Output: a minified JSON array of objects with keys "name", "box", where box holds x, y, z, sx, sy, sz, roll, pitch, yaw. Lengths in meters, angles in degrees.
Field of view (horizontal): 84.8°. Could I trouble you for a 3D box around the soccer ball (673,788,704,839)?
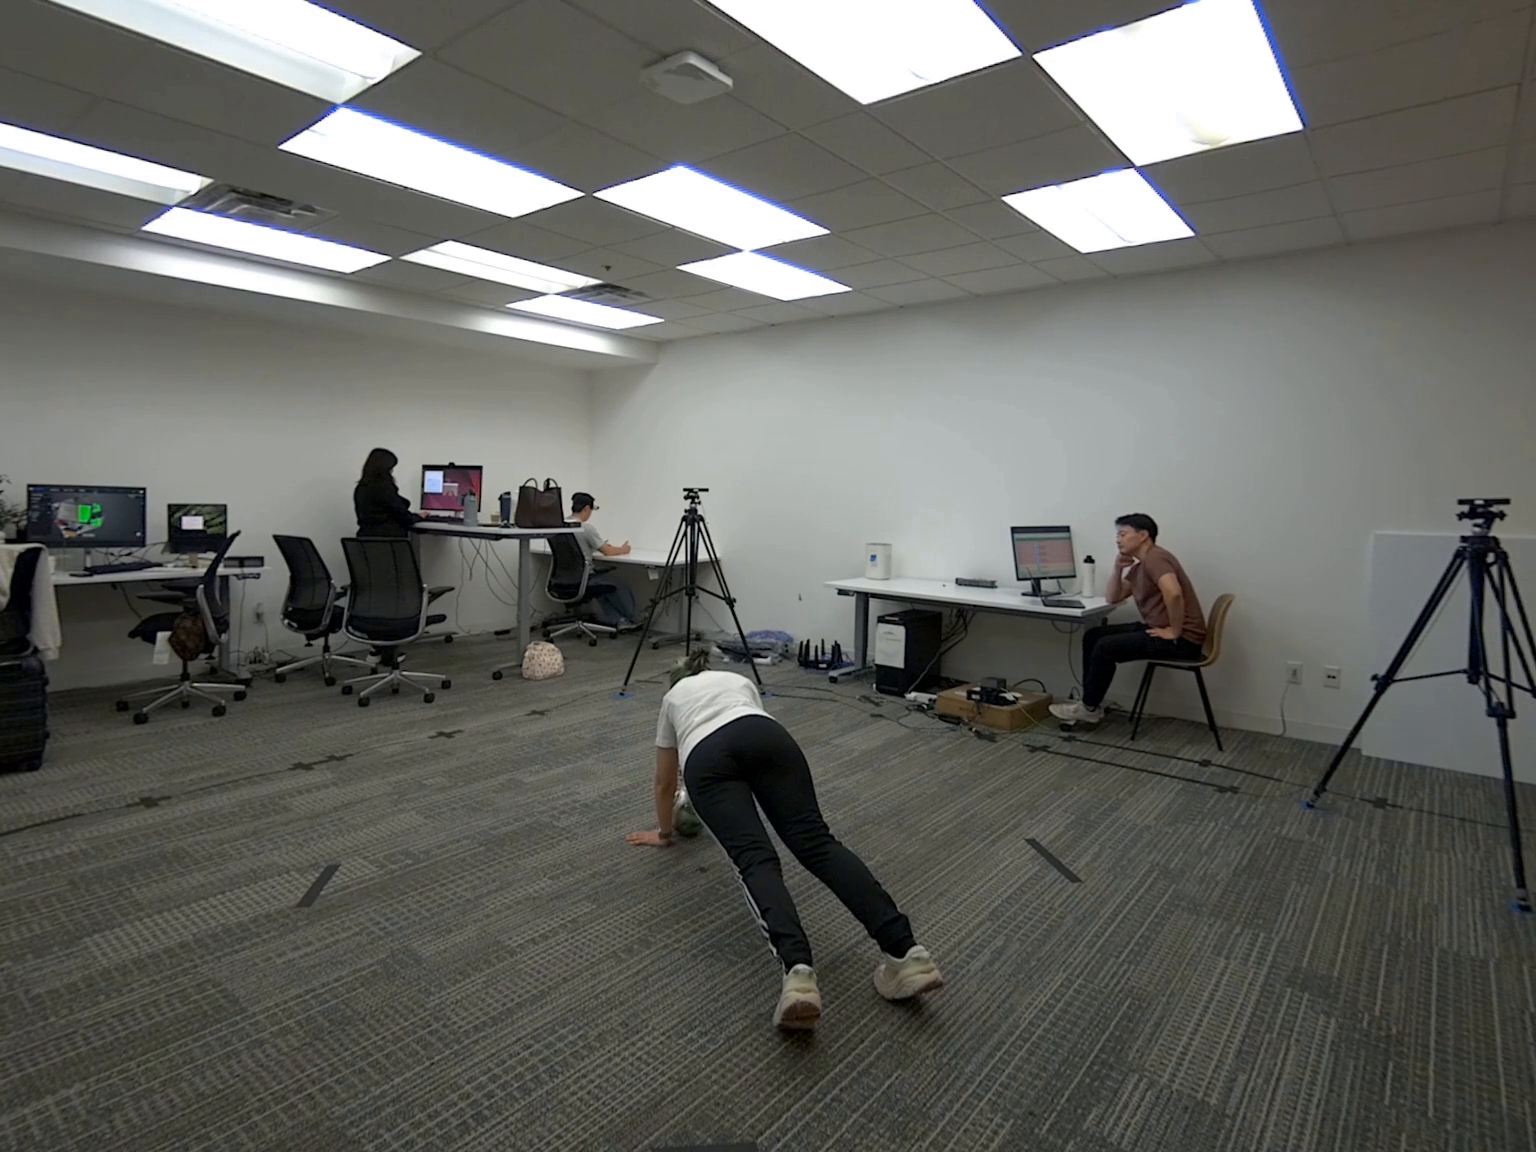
[{"name":"soccer ball","box":[-0.328,0.945,3.434,0.187,0.187,0.188,1,4,-2]}]
